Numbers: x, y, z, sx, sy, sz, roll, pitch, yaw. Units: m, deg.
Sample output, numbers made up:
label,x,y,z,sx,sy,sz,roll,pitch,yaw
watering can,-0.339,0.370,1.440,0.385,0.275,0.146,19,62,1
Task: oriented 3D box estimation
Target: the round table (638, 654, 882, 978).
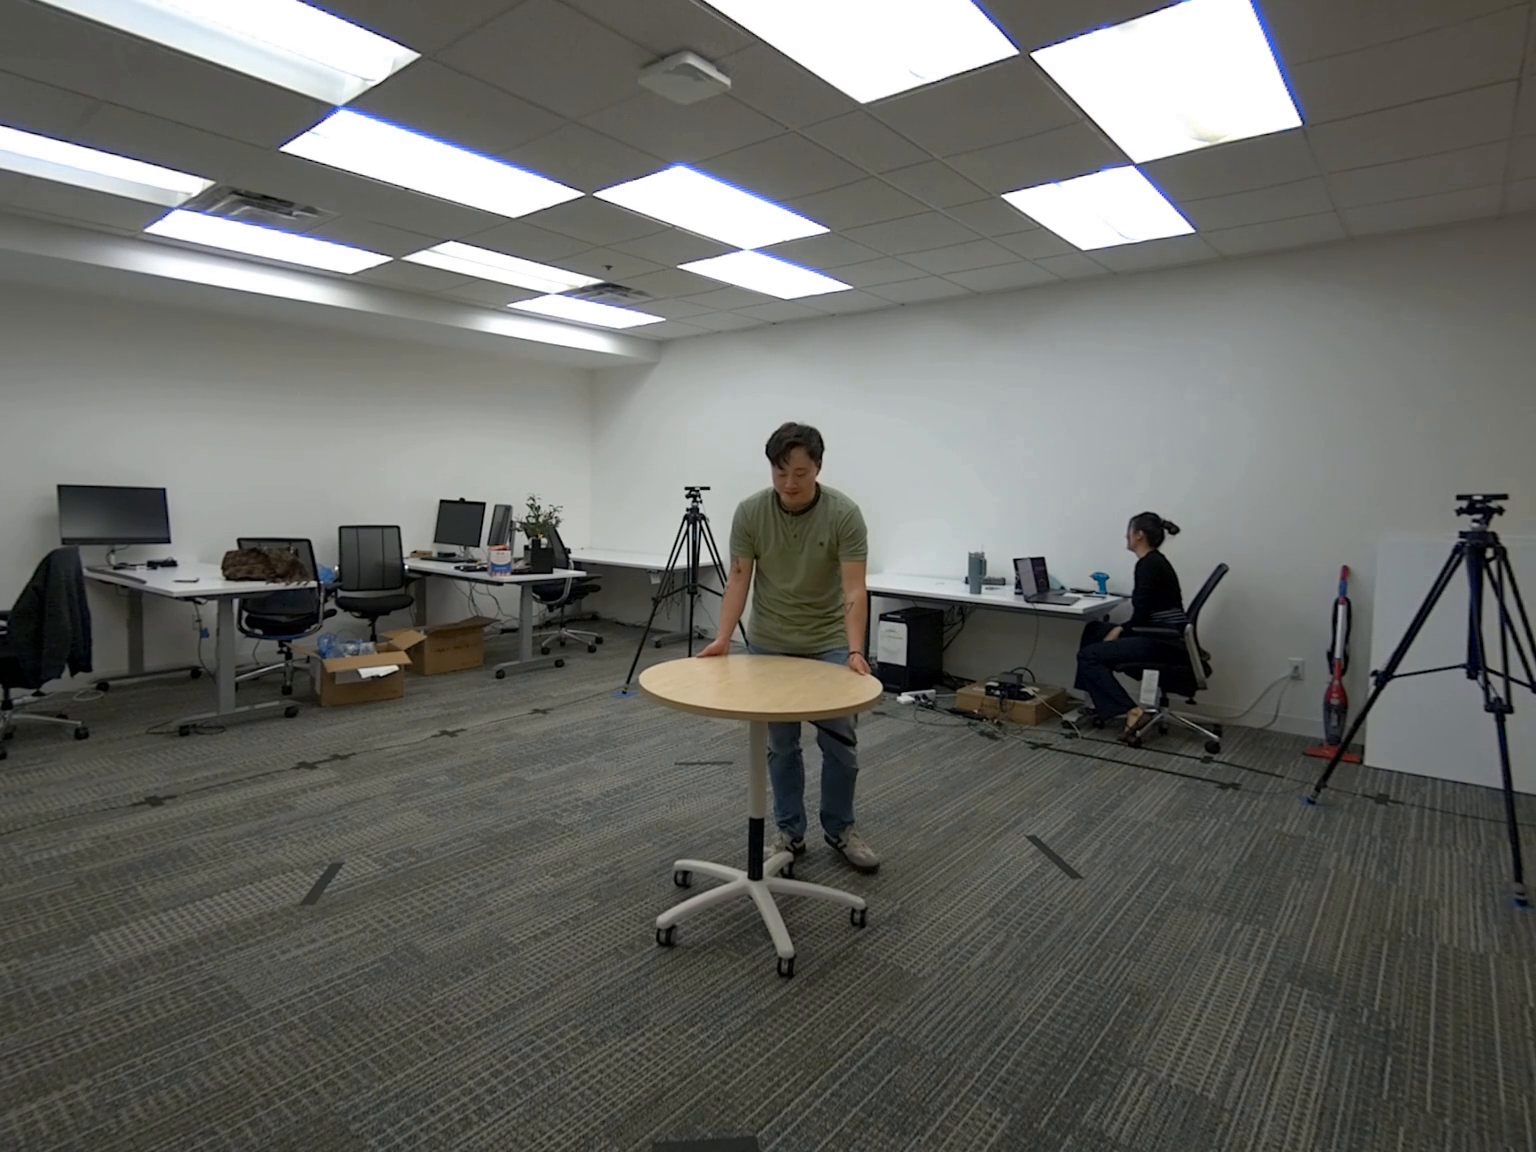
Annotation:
label,x,y,z,sx,sy,sz,roll,pitch,yaw
round table,-0.046,0.716,2.722,0.763,0.791,0.768,1,4,-2
